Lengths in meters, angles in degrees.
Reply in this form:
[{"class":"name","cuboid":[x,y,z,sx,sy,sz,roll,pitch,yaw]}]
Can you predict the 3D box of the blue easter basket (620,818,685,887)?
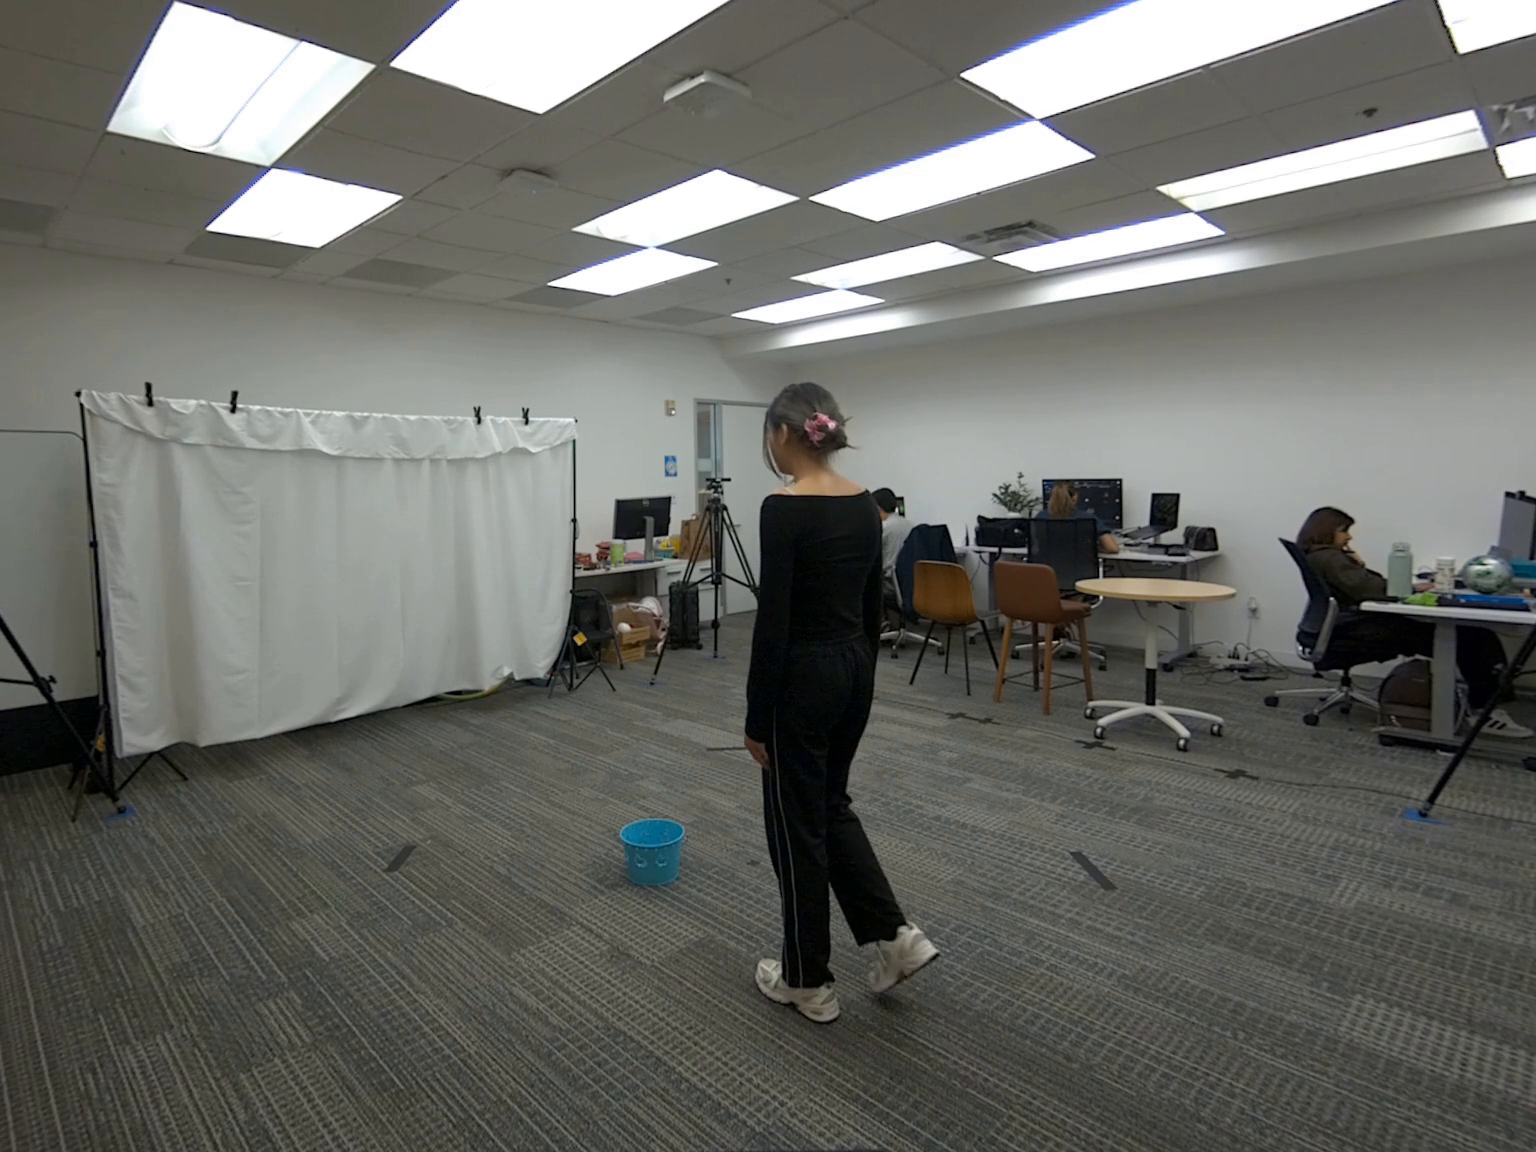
[{"class":"blue easter basket","cuboid":[-0.401,0.978,3.032,0.243,0.155,0.245,-1,6,-2]}]
